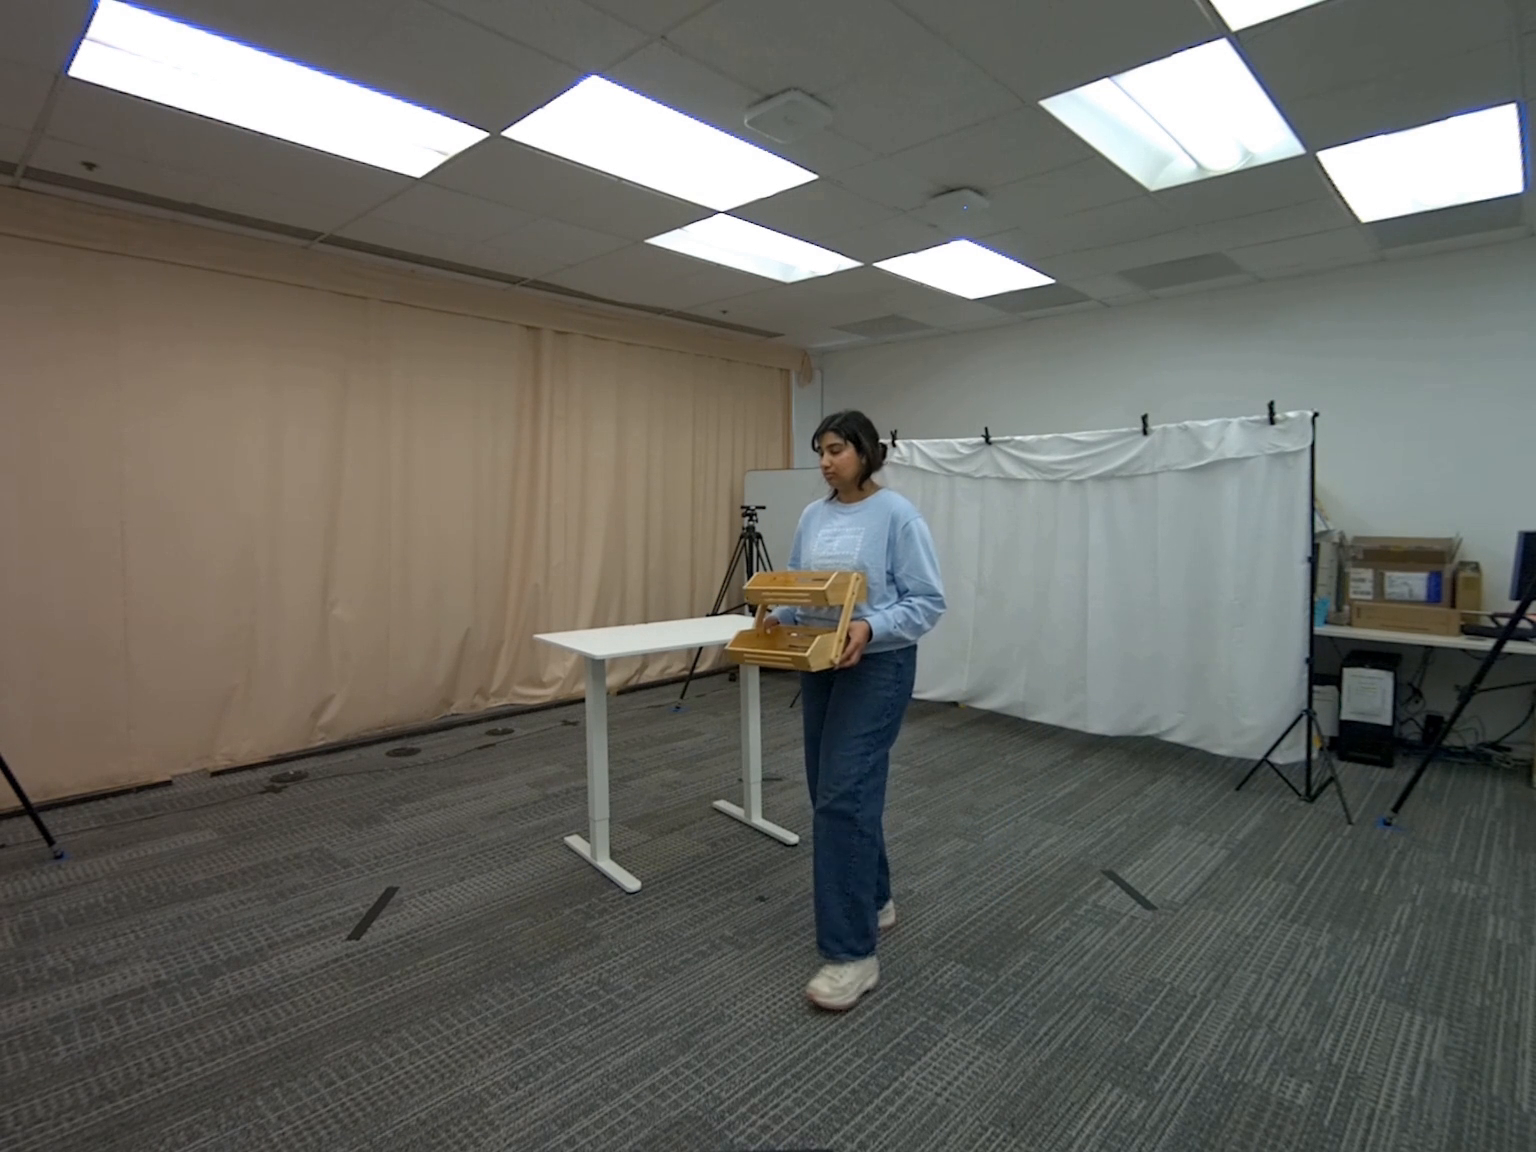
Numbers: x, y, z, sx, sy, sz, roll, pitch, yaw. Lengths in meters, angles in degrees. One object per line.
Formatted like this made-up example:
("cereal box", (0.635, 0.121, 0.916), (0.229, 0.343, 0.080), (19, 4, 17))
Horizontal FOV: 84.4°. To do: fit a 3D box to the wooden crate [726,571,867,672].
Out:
("wooden crate", (0.079, 0.118, 2.475), (0.335, 0.273, 0.292), (0, 1, 42))
